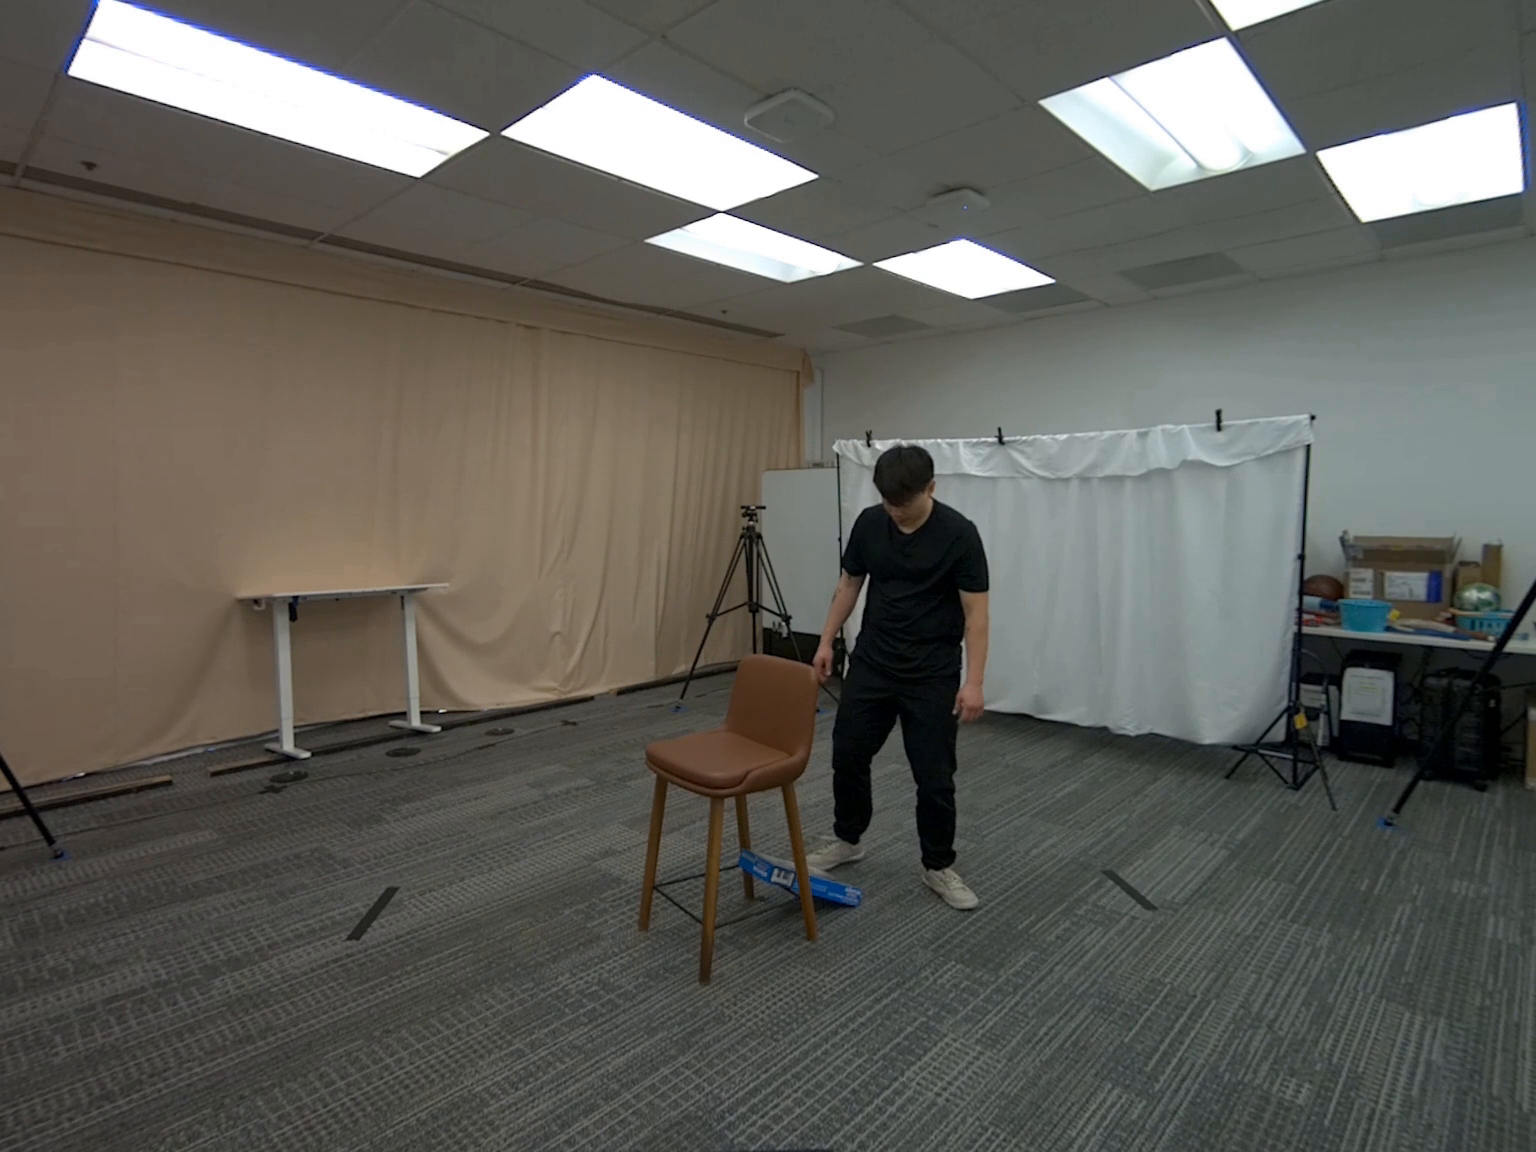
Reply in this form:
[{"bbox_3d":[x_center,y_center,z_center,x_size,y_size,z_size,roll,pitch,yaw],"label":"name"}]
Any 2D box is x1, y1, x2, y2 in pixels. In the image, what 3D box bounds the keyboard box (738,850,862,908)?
[{"bbox_3d":[0.112,1.037,2.885,0.422,0.059,0.181,28,-13,-33],"label":"keyboard box"}]
